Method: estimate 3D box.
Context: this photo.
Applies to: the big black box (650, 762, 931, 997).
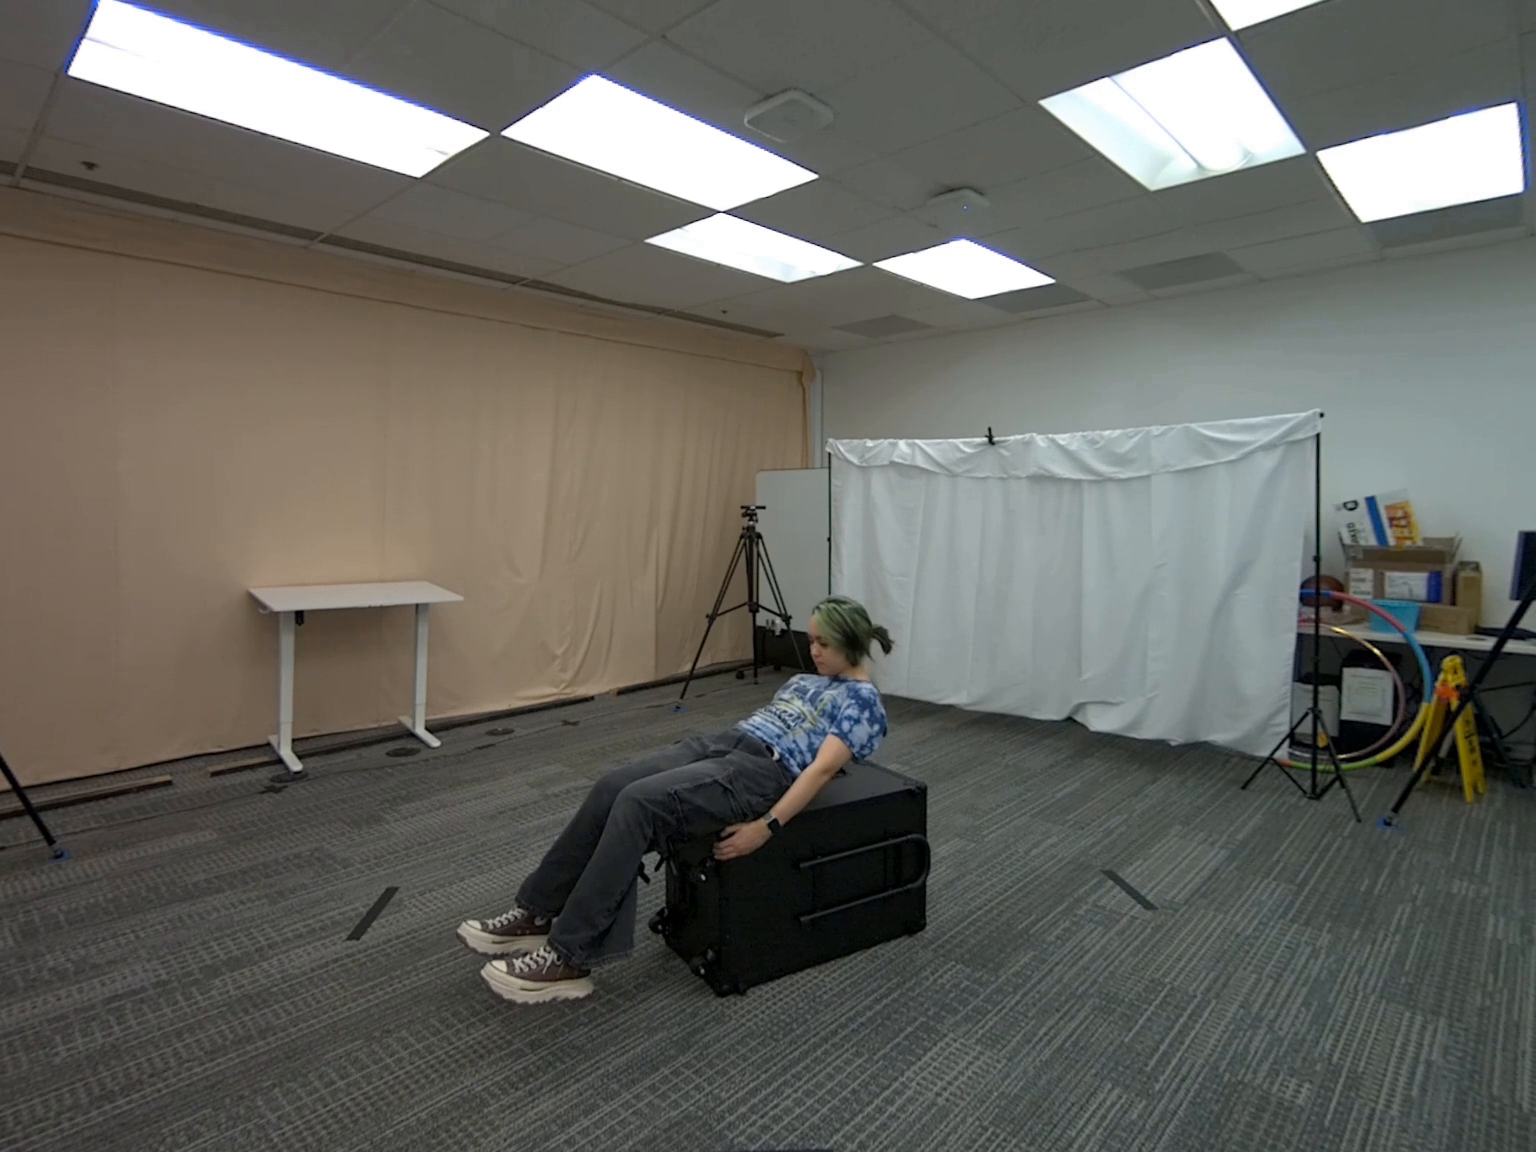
[{"bbox_3d":[0.080,0.927,2.685,0.839,0.520,0.408,-4,5,-29],"label":"big black box"}]
